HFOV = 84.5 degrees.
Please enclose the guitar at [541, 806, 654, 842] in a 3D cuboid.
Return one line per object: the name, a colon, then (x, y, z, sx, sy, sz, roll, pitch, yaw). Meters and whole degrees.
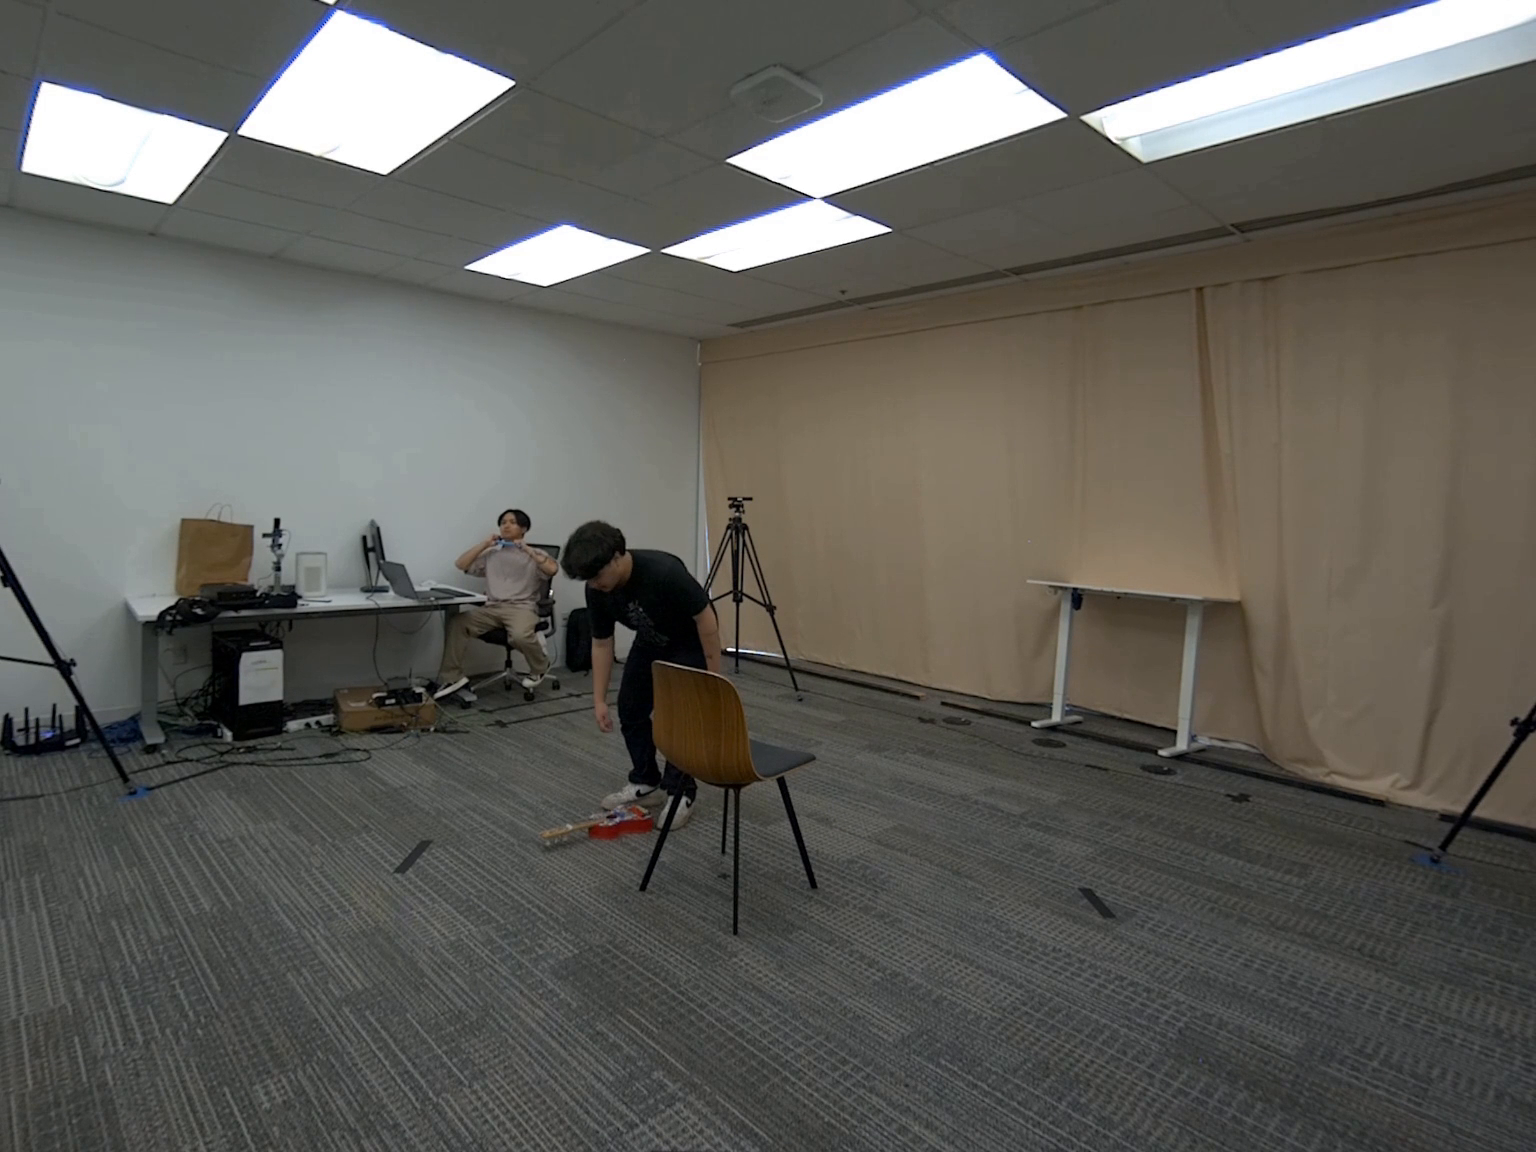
guitar: (-0.732, 1.029, 3.473, 0.487, 0.070, 0.198, -2, 7, -32)
